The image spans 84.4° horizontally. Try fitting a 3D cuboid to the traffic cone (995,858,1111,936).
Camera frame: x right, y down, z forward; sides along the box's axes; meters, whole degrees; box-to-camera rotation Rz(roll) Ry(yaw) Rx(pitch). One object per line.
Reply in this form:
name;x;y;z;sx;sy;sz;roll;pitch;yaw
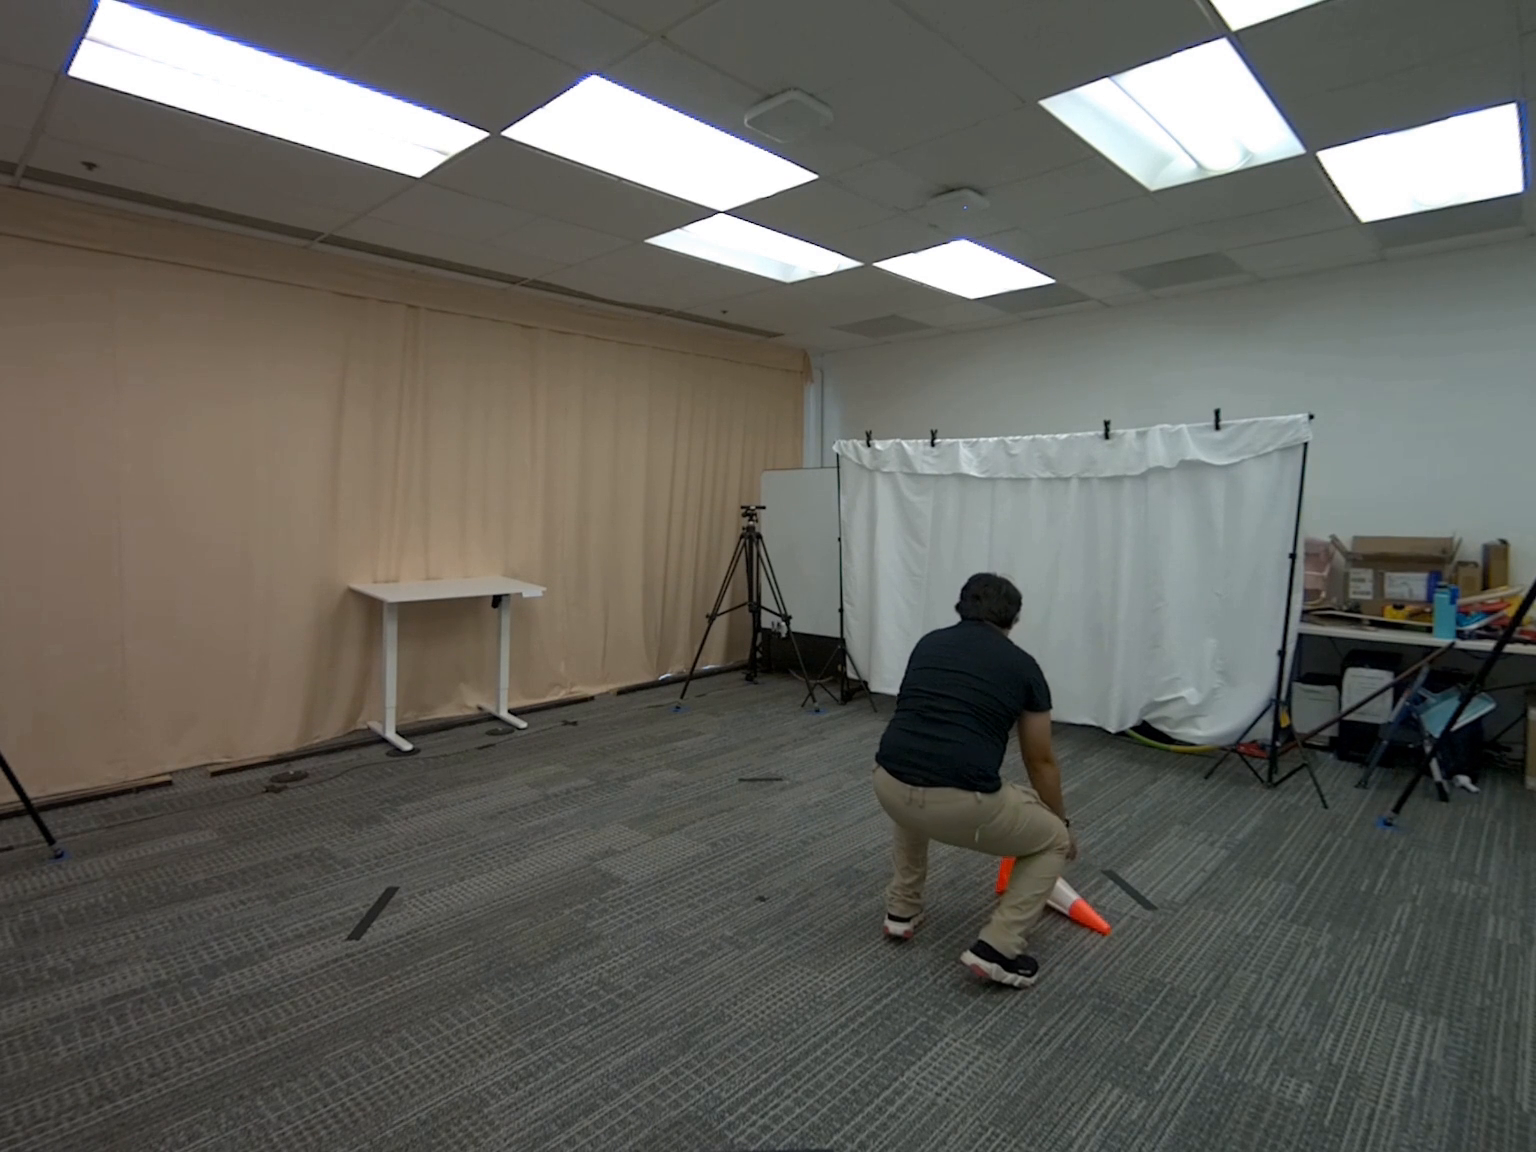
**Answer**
traffic cone;1.004;1.101;2.881;0.200;0.202;0.397;-1;19;-28
